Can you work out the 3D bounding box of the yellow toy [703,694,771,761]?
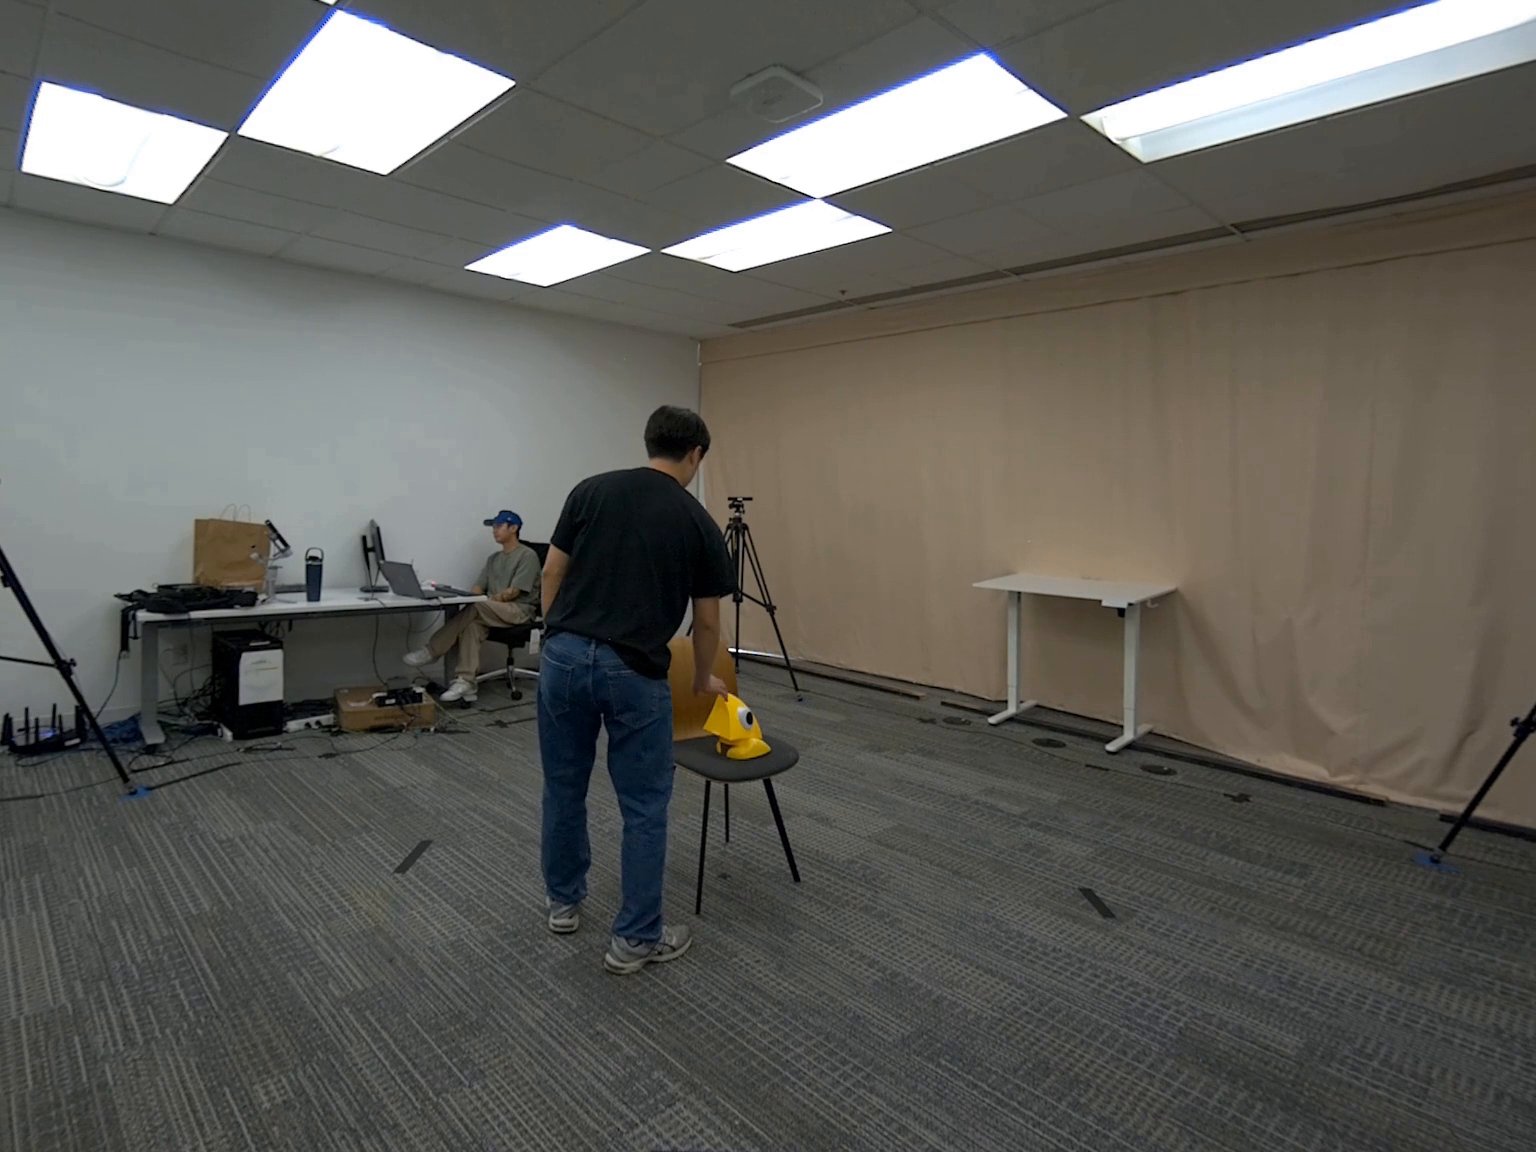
[{"bbox_3d":[-0.119,0.520,3.040,0.189,0.230,0.209,-6,4,-30],"label":"yellow toy"}]
